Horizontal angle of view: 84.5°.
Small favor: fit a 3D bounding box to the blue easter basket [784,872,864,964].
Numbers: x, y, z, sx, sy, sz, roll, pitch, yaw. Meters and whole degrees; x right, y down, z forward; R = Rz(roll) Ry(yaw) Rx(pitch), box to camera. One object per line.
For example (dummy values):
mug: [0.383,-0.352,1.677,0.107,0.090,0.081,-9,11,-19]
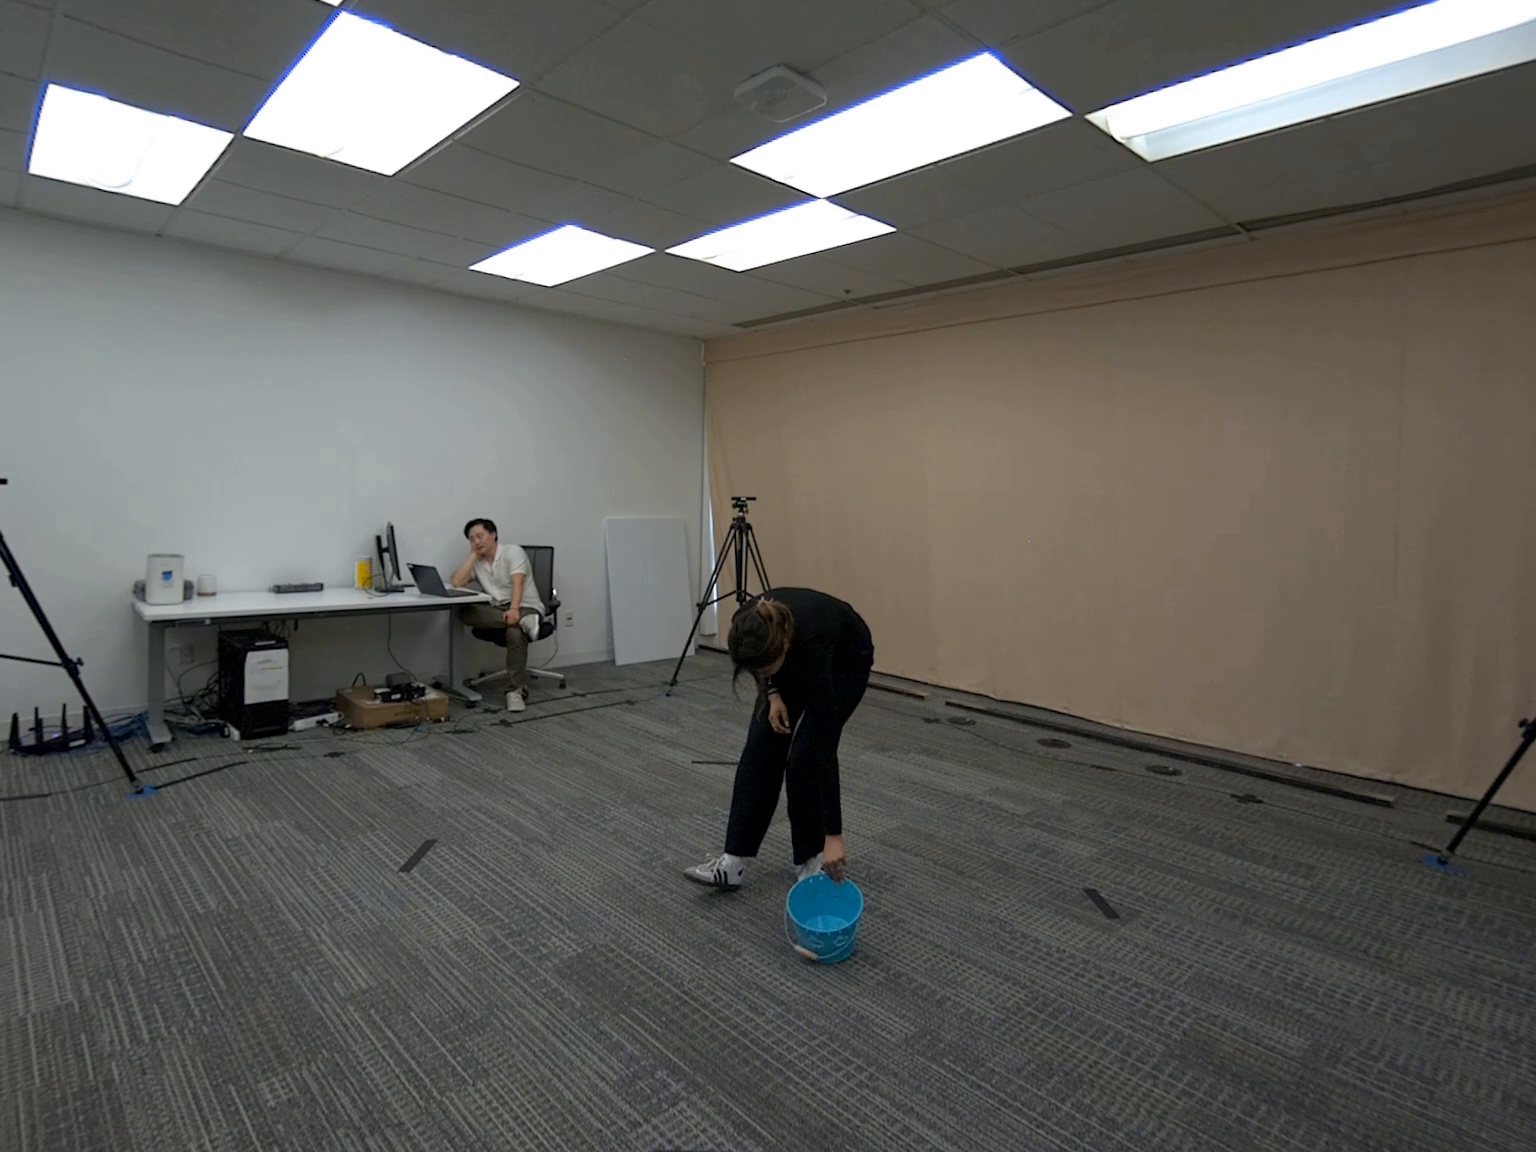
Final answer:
blue easter basket: [0.162,1.064,2.583,0.244,0.153,0.247,-3,22,0]
